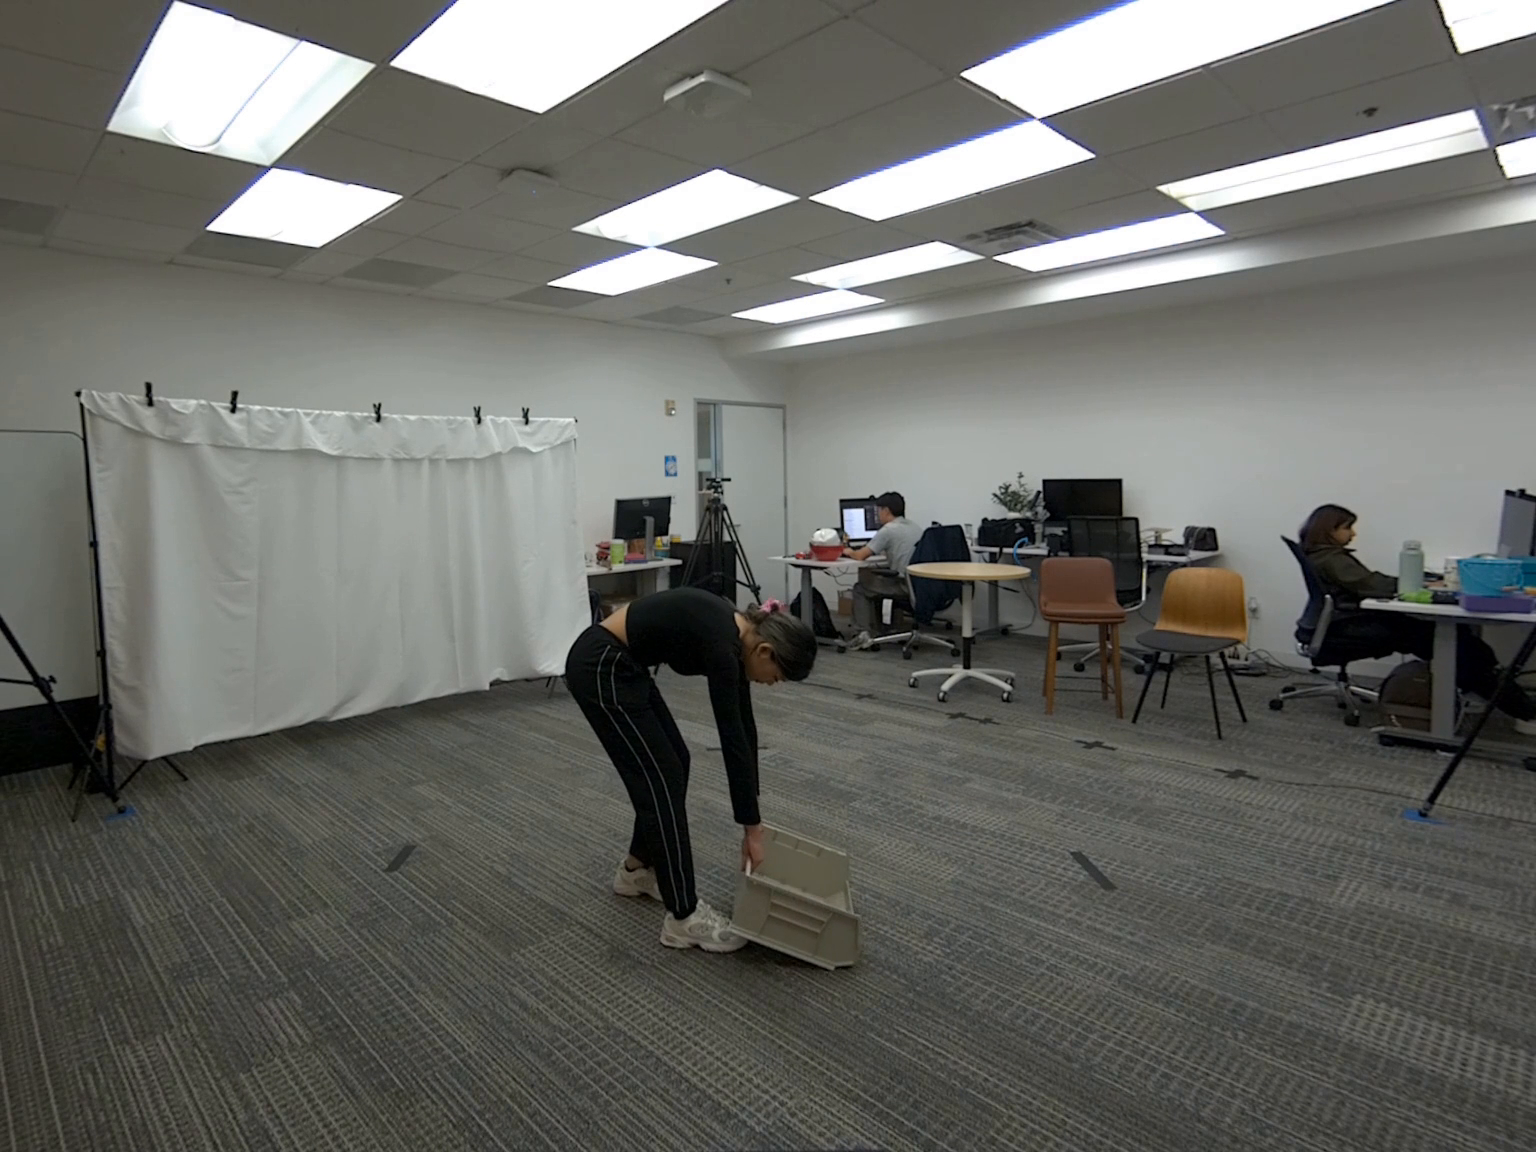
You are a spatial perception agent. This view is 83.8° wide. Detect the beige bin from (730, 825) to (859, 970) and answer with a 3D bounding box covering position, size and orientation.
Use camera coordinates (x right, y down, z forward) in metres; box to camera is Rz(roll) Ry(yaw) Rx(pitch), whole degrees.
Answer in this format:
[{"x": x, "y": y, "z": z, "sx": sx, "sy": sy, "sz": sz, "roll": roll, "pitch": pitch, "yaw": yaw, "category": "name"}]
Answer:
[{"x": 0.094, "y": 0.965, "z": 2.619, "sx": 0.378, "sy": 0.188, "sz": 0.423, "roll": 18, "pitch": 6, "yaw": 0, "category": "beige bin"}]
